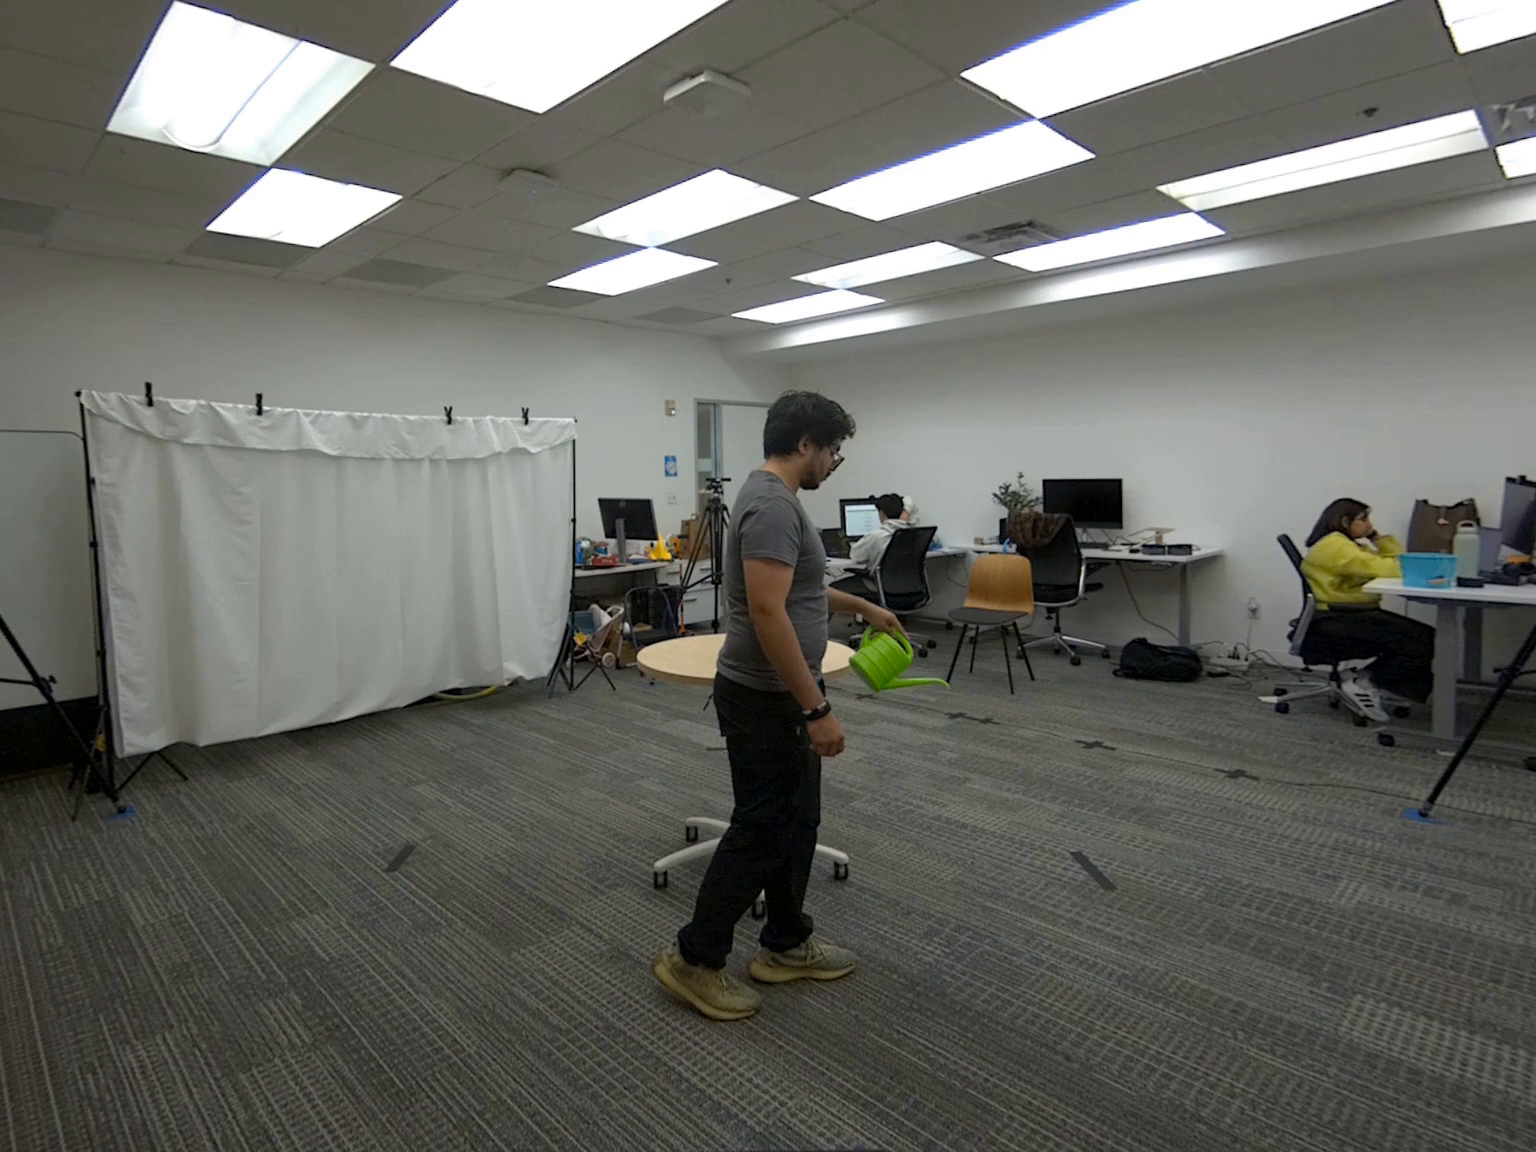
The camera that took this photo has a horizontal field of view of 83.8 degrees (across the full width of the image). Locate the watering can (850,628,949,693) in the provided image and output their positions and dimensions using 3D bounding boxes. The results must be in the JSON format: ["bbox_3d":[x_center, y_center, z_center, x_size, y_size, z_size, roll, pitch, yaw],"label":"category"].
[{"bbox_3d":[0.377,0.268,2.507,0.288,0.176,0.095,44,-12,30],"label":"watering can"}]
